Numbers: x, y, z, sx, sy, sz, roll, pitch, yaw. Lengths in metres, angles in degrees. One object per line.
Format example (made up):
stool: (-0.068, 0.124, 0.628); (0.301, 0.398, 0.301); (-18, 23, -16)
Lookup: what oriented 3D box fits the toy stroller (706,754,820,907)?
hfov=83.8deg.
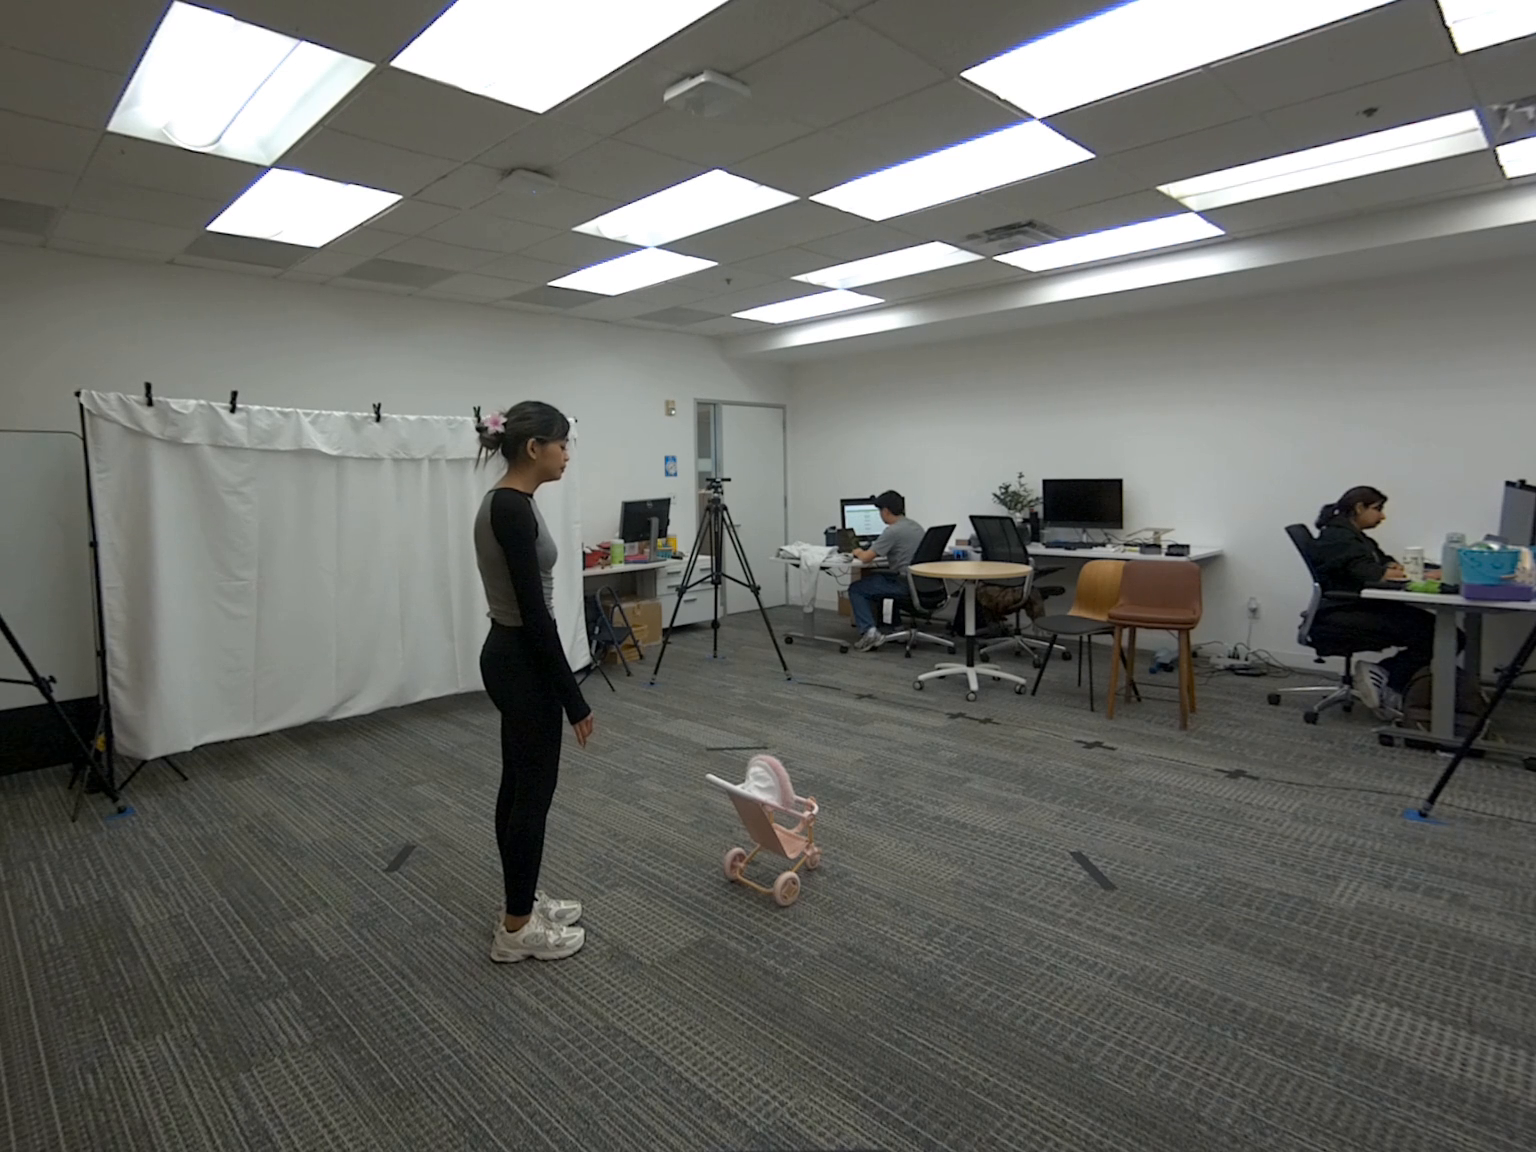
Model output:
toy stroller: (0.021, 0.841, 2.911); (0.336, 0.526, 0.290); (-25, 18, -35)
